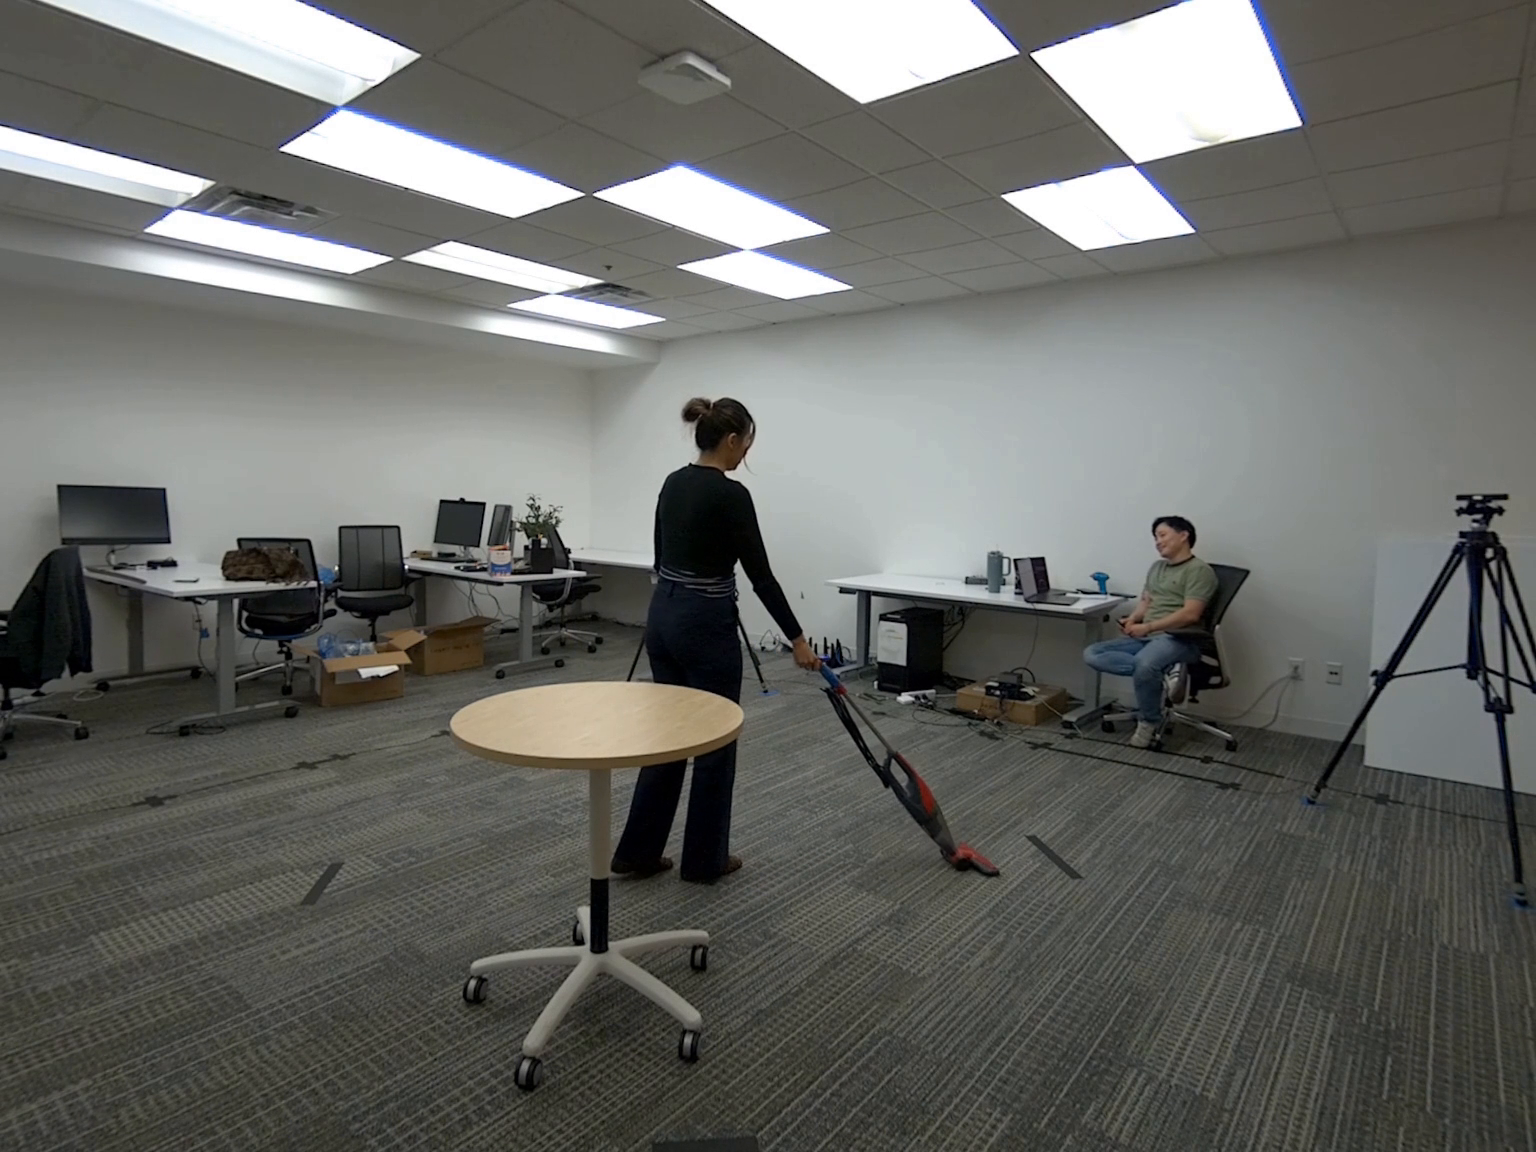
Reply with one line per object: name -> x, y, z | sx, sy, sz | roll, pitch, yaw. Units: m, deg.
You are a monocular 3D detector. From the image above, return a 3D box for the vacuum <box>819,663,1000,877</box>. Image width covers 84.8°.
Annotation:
vacuum -> 0.427, 0.674, 3.097 | 0.144, 1.033, 0.257 | -40, 11, -9
